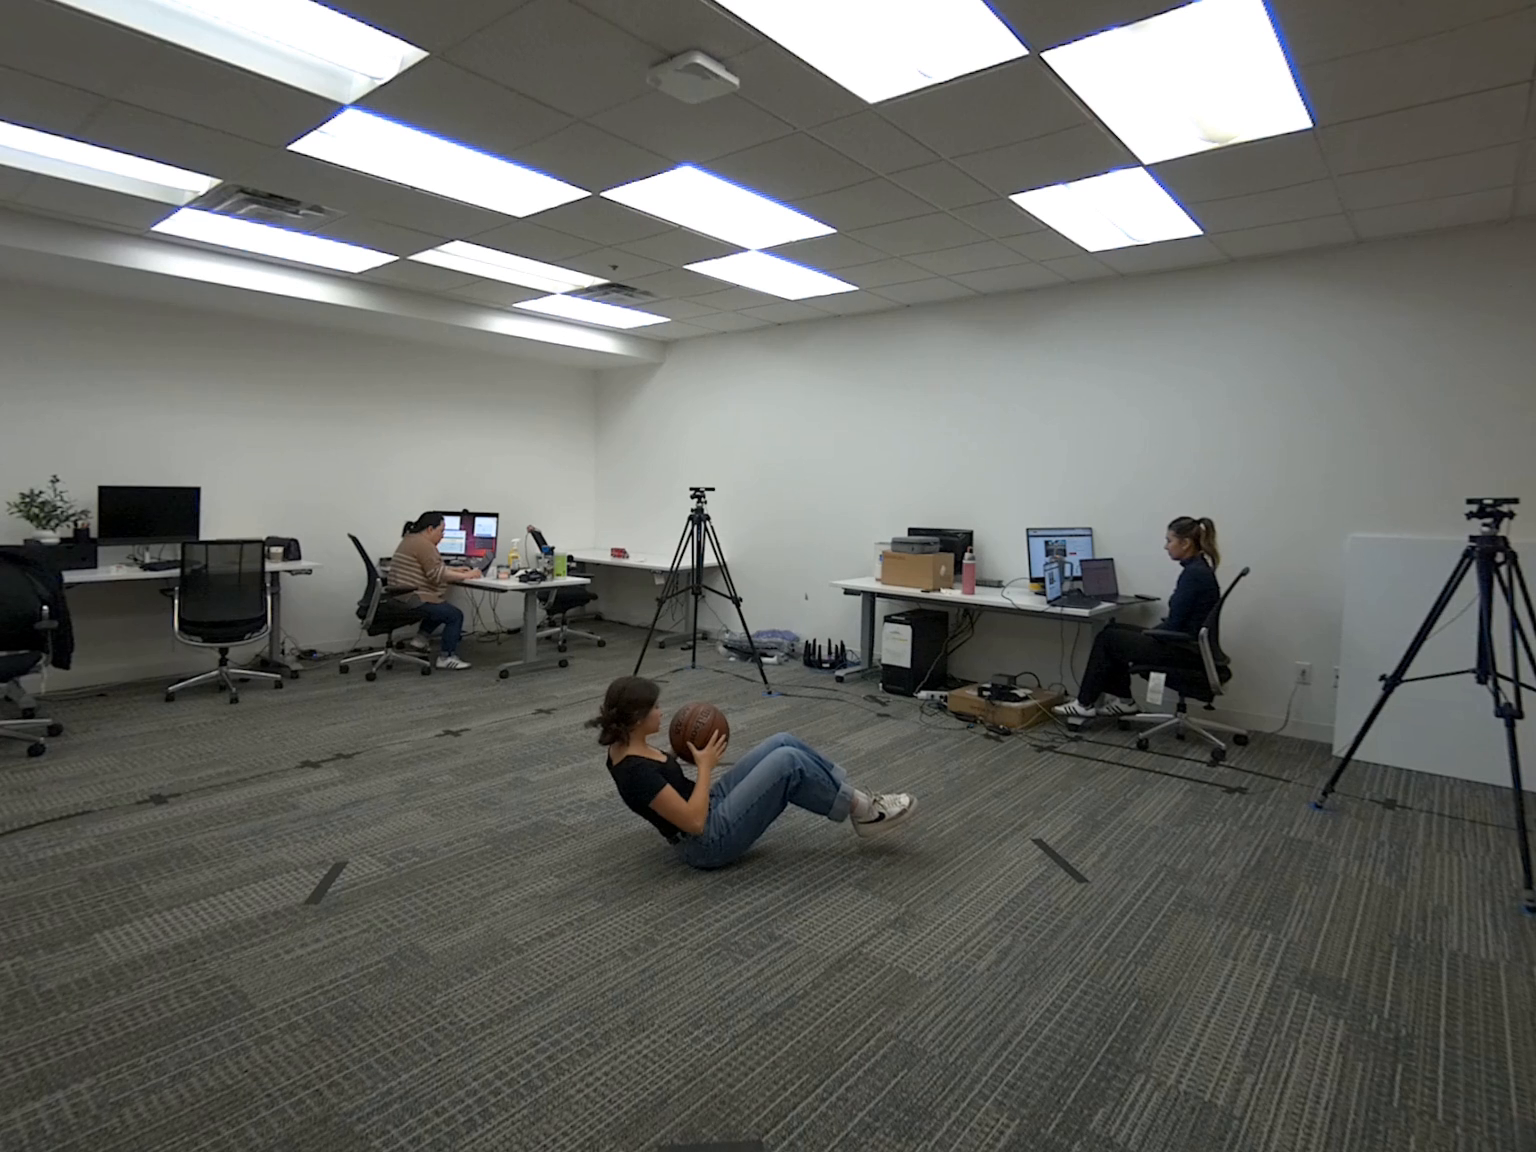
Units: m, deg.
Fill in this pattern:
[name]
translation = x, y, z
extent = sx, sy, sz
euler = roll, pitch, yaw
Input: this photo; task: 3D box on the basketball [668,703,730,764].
[basketball]
translation = -0.289, 0.624, 3.322
extent = 0.235, 0.235, 0.237
euler = 1, 4, -2
